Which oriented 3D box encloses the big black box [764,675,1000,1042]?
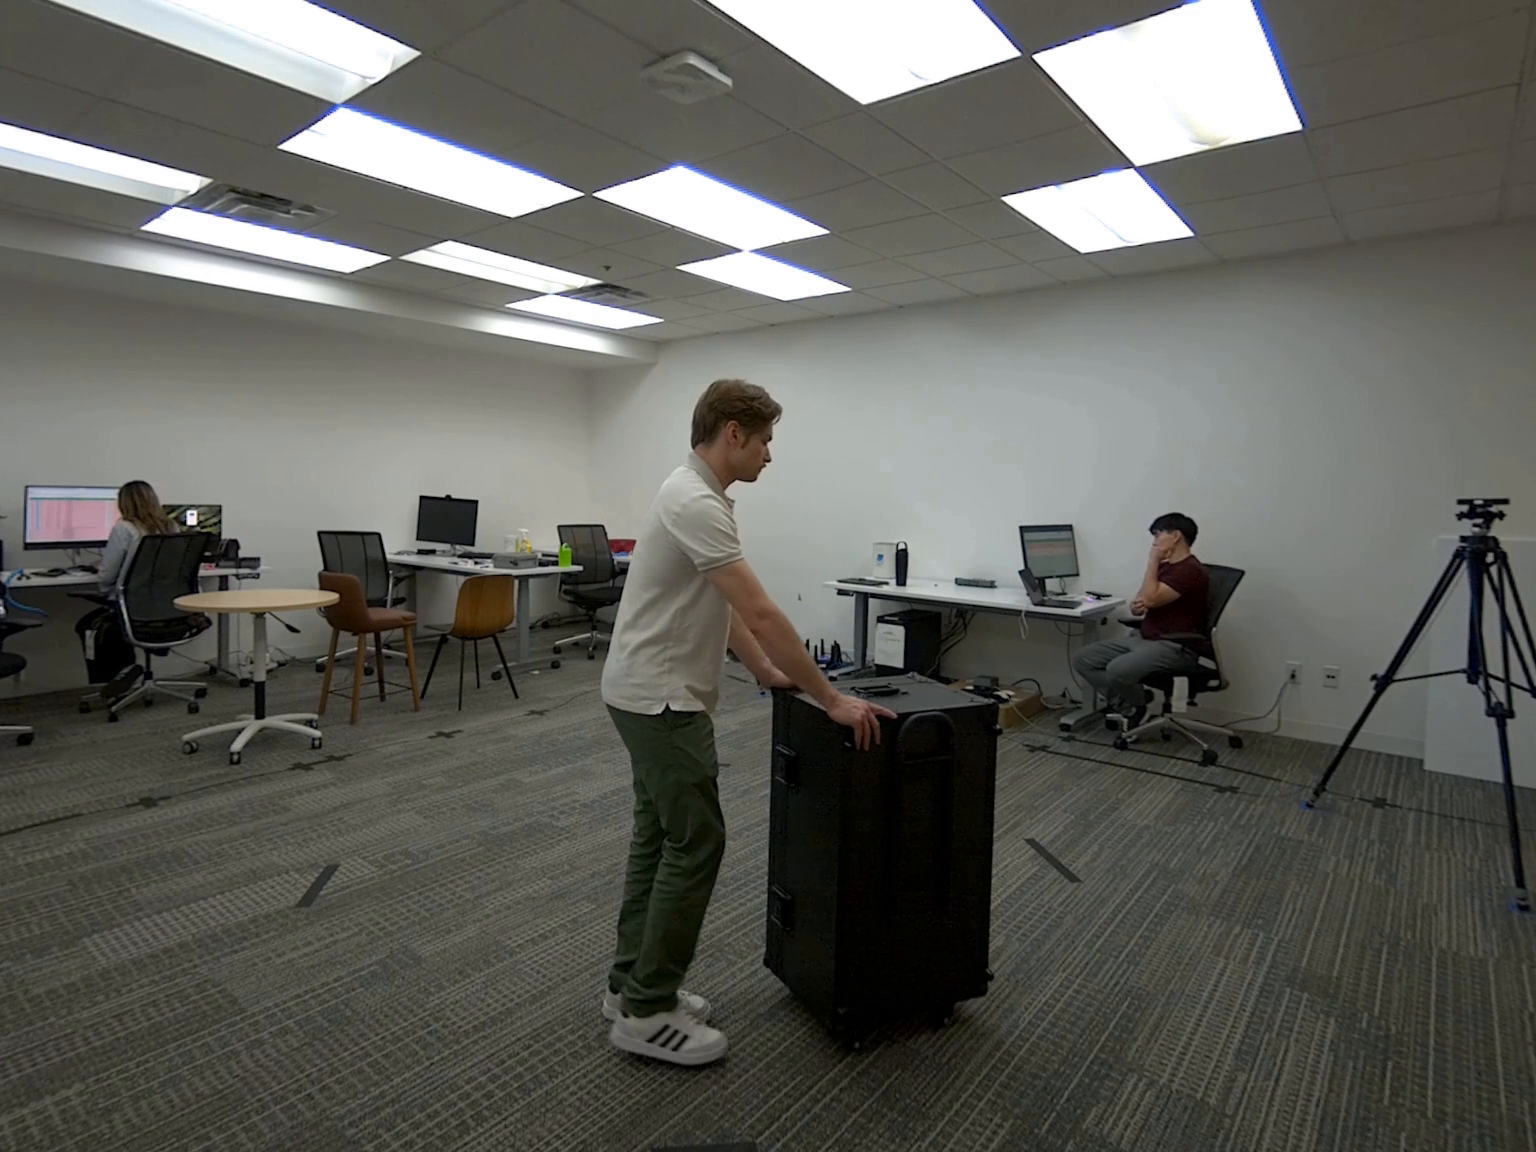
[{"bbox_3d":[0.301,0.741,2.289,0.510,0.866,0.396,-1,4,-28],"label":"big black box"}]
